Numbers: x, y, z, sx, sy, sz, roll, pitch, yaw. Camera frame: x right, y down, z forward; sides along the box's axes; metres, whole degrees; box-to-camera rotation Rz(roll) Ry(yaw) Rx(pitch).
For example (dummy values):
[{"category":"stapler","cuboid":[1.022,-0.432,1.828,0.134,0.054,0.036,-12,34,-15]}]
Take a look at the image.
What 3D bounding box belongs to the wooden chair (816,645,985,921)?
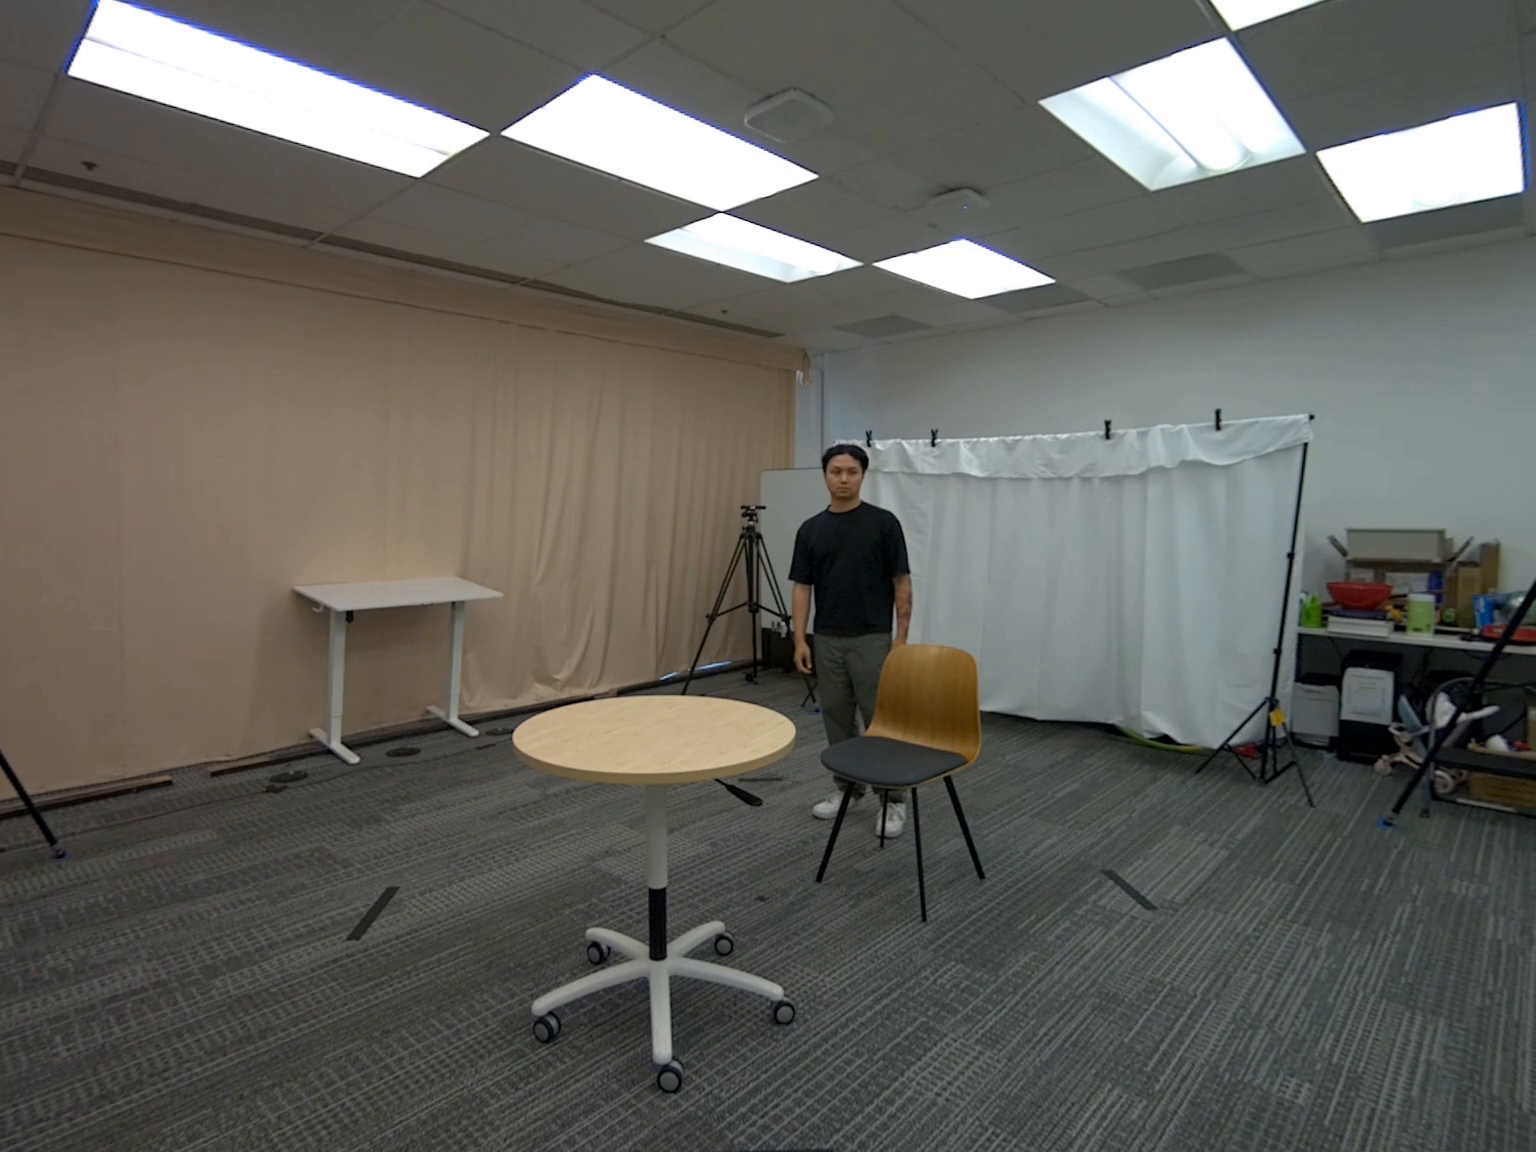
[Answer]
[{"category":"wooden chair","cuboid":[0.488,0.701,3.092,0.494,0.877,0.506,3,0,41]}]
